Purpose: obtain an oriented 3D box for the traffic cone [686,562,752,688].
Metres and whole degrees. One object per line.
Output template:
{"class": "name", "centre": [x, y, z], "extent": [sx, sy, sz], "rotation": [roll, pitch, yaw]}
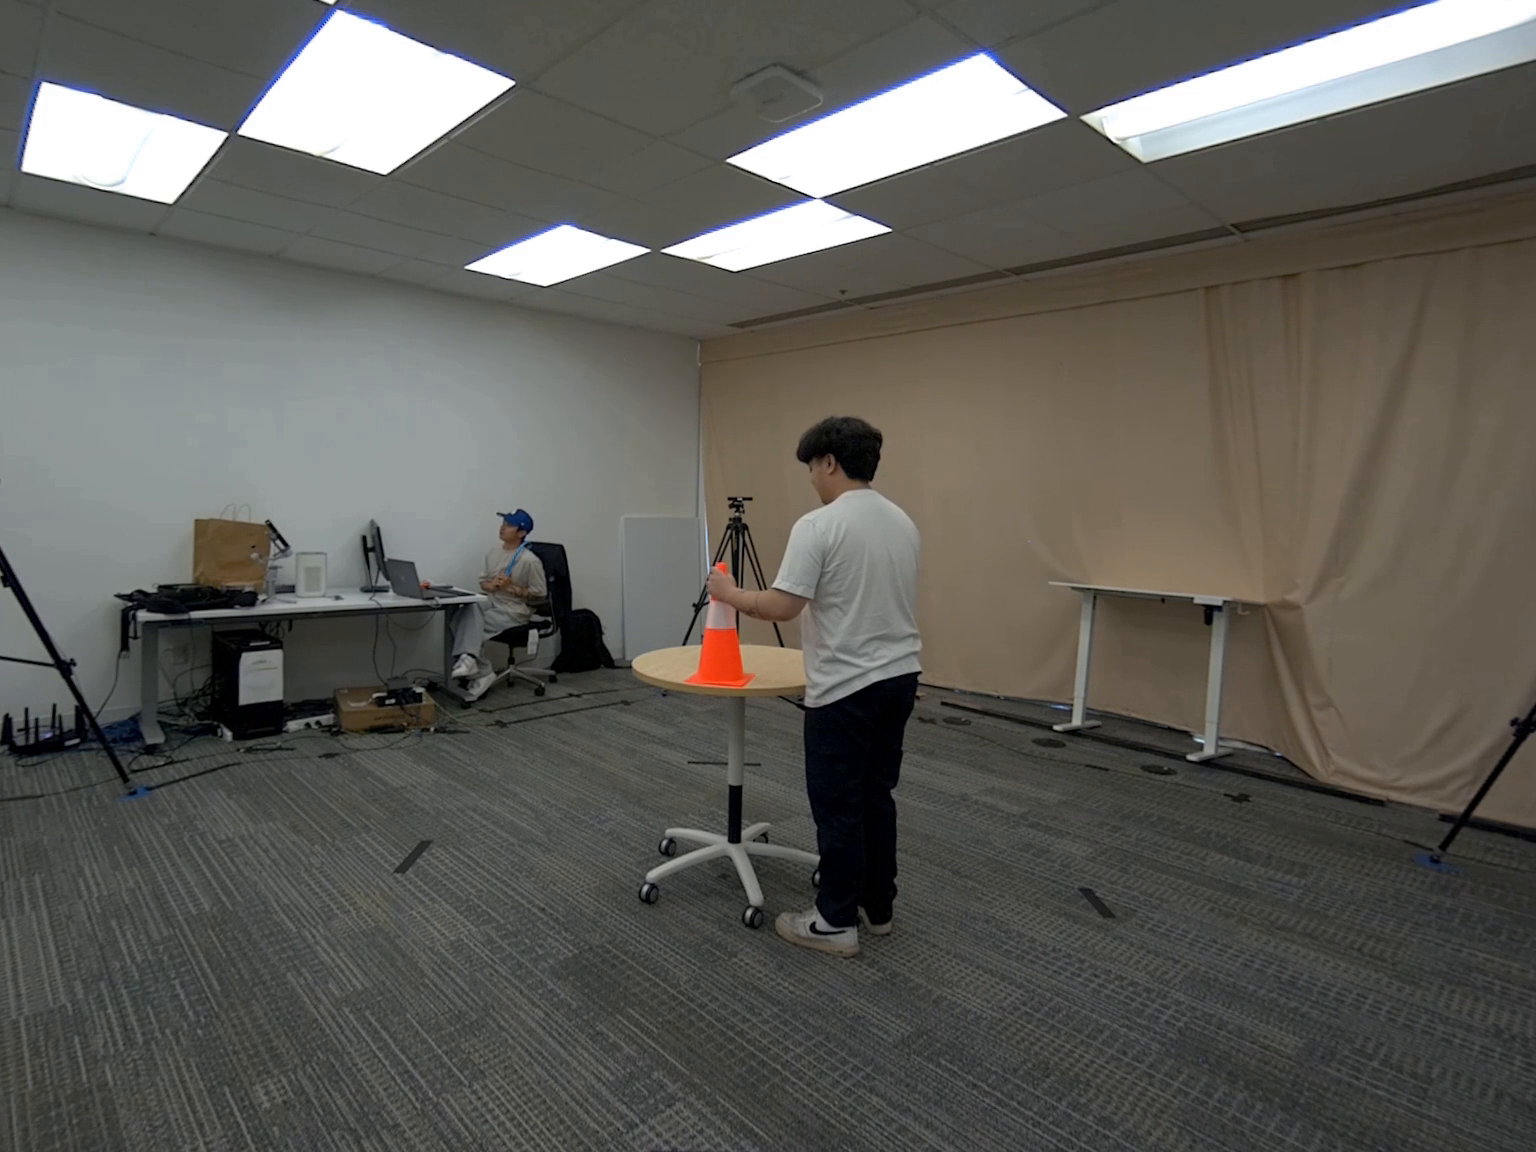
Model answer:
{"class": "traffic cone", "centre": [-0.155, 0.147, 2.790], "extent": [0.206, 0.383, 0.203], "rotation": [3, 3, 14]}
